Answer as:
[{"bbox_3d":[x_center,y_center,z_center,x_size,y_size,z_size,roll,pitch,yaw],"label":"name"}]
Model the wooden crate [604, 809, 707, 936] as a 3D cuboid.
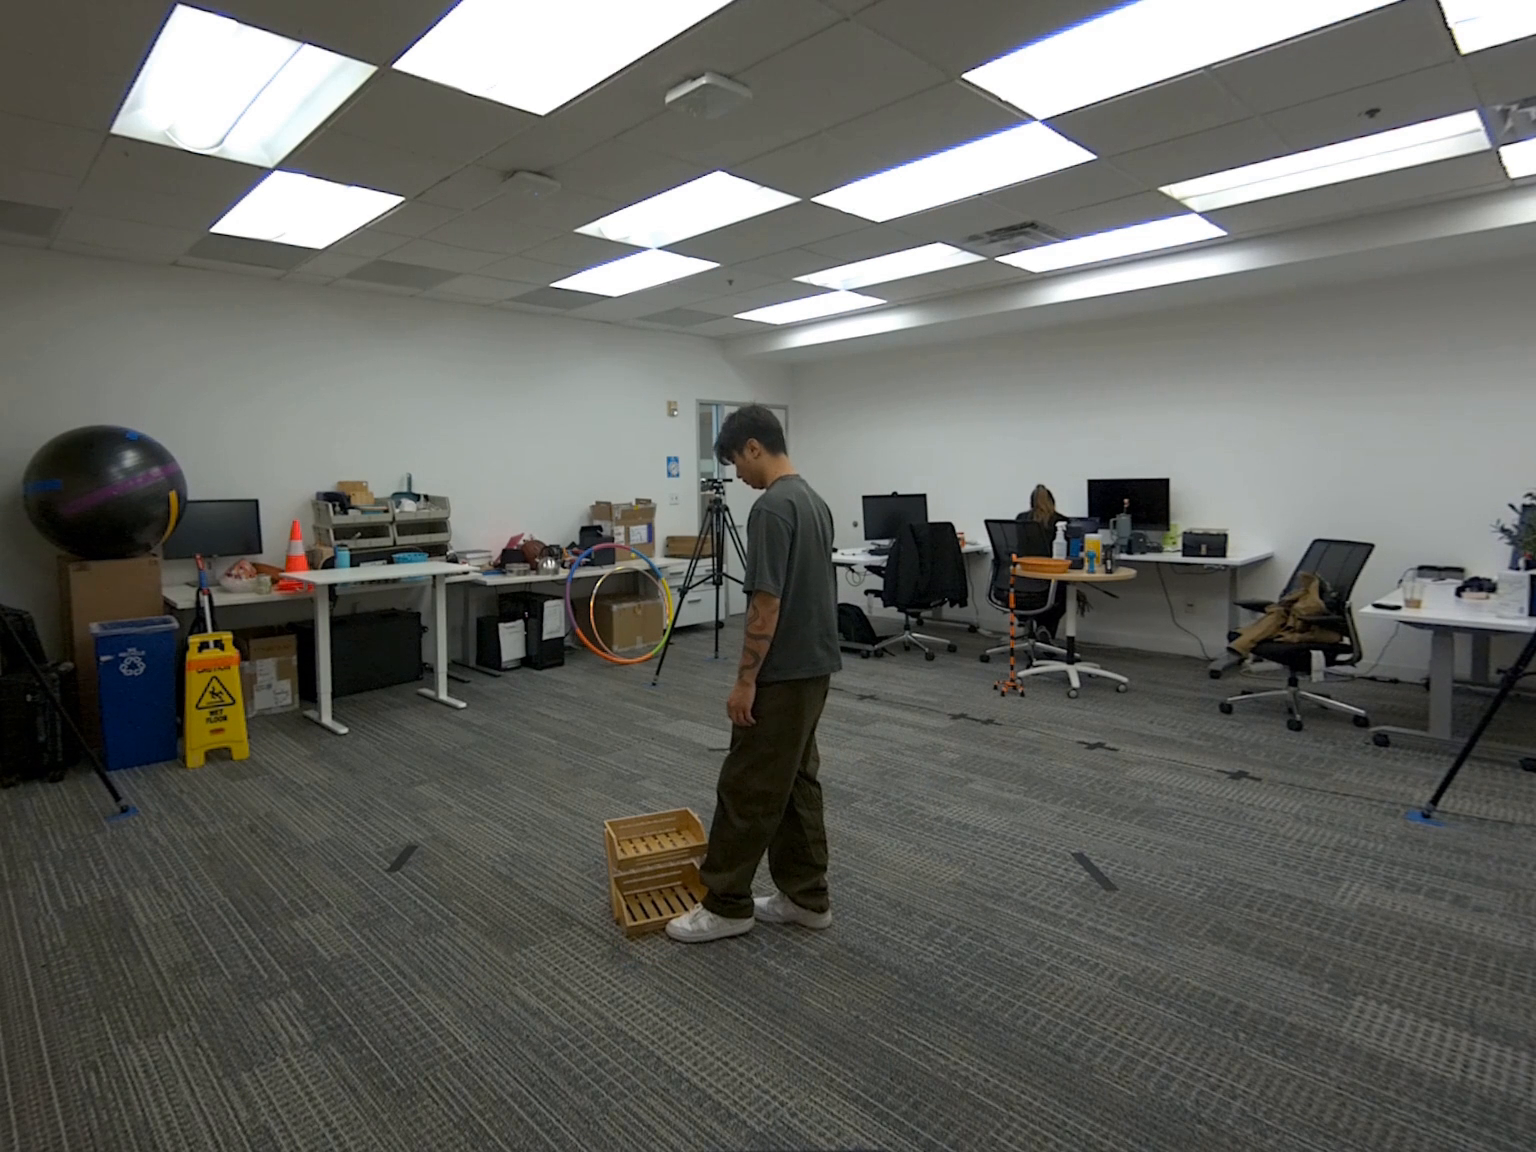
[{"bbox_3d":[-0.350,0.954,2.780,0.318,0.272,0.309,-3,6,-22],"label":"wooden crate"}]
